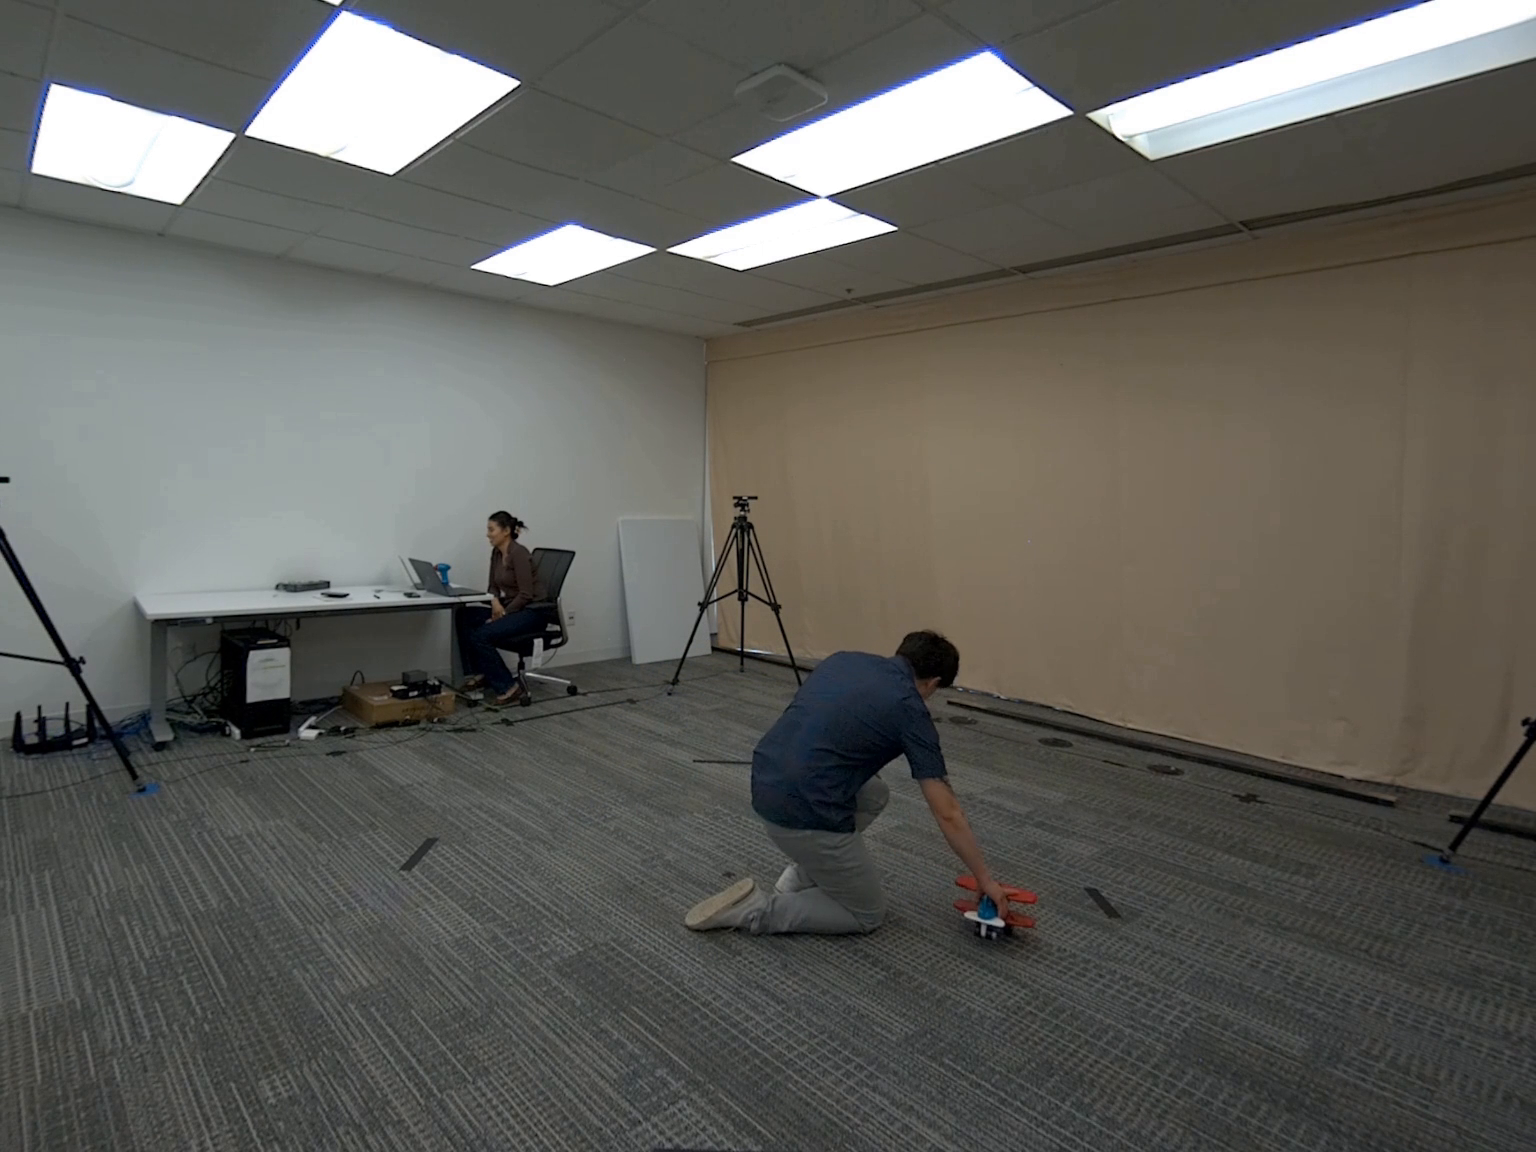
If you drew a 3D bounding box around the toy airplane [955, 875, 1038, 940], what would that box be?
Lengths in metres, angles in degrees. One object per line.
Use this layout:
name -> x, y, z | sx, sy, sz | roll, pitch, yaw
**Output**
toy airplane -> 0.722, 1.071, 2.671 | 0.251, 0.157, 0.257 | 11, -12, -1
